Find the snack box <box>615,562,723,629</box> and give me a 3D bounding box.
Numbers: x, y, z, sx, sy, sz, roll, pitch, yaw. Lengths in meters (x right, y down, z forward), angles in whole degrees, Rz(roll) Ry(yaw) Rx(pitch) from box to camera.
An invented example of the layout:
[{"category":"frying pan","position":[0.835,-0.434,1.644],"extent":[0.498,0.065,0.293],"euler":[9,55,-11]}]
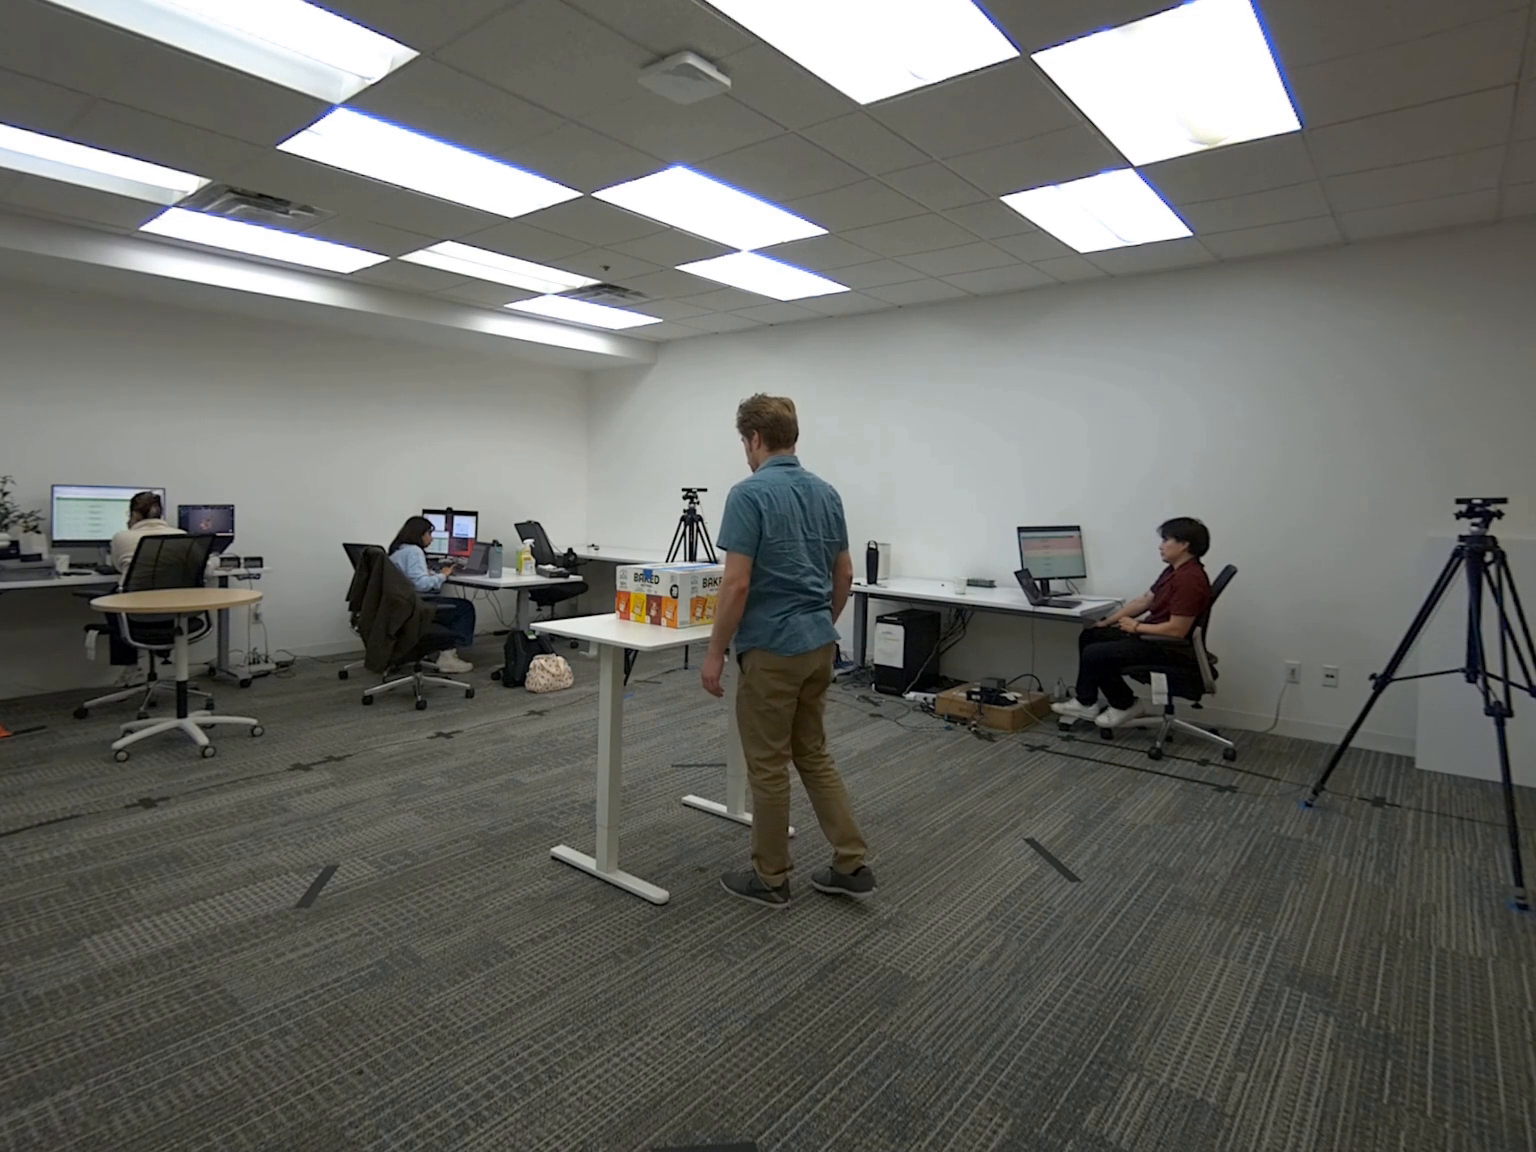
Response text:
[{"category":"snack box","position":[-0.342,0.061,3.323],"extent":[0.352,0.205,0.393],"euler":[6,7,39]}]
